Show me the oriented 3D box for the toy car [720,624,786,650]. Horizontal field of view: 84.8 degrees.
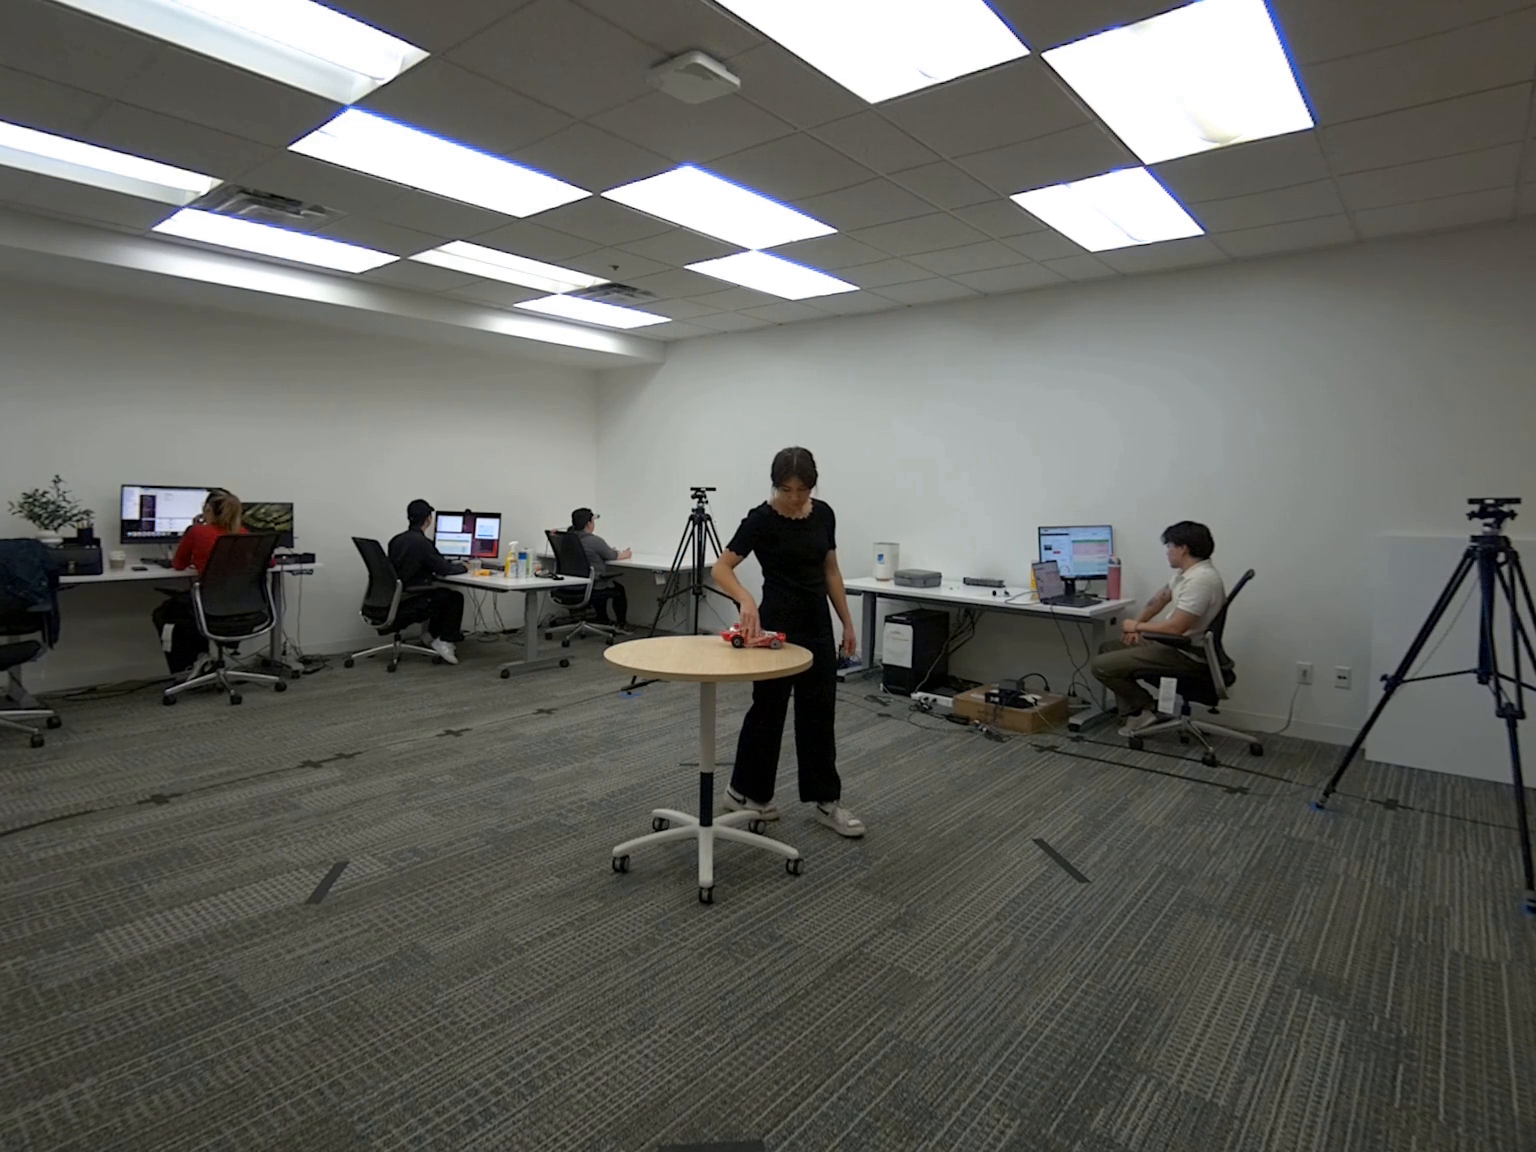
[{"bbox_3d":[-0.075,0.240,3.274,0.257,0.083,0.129,13,7,8],"label":"toy car"}]
